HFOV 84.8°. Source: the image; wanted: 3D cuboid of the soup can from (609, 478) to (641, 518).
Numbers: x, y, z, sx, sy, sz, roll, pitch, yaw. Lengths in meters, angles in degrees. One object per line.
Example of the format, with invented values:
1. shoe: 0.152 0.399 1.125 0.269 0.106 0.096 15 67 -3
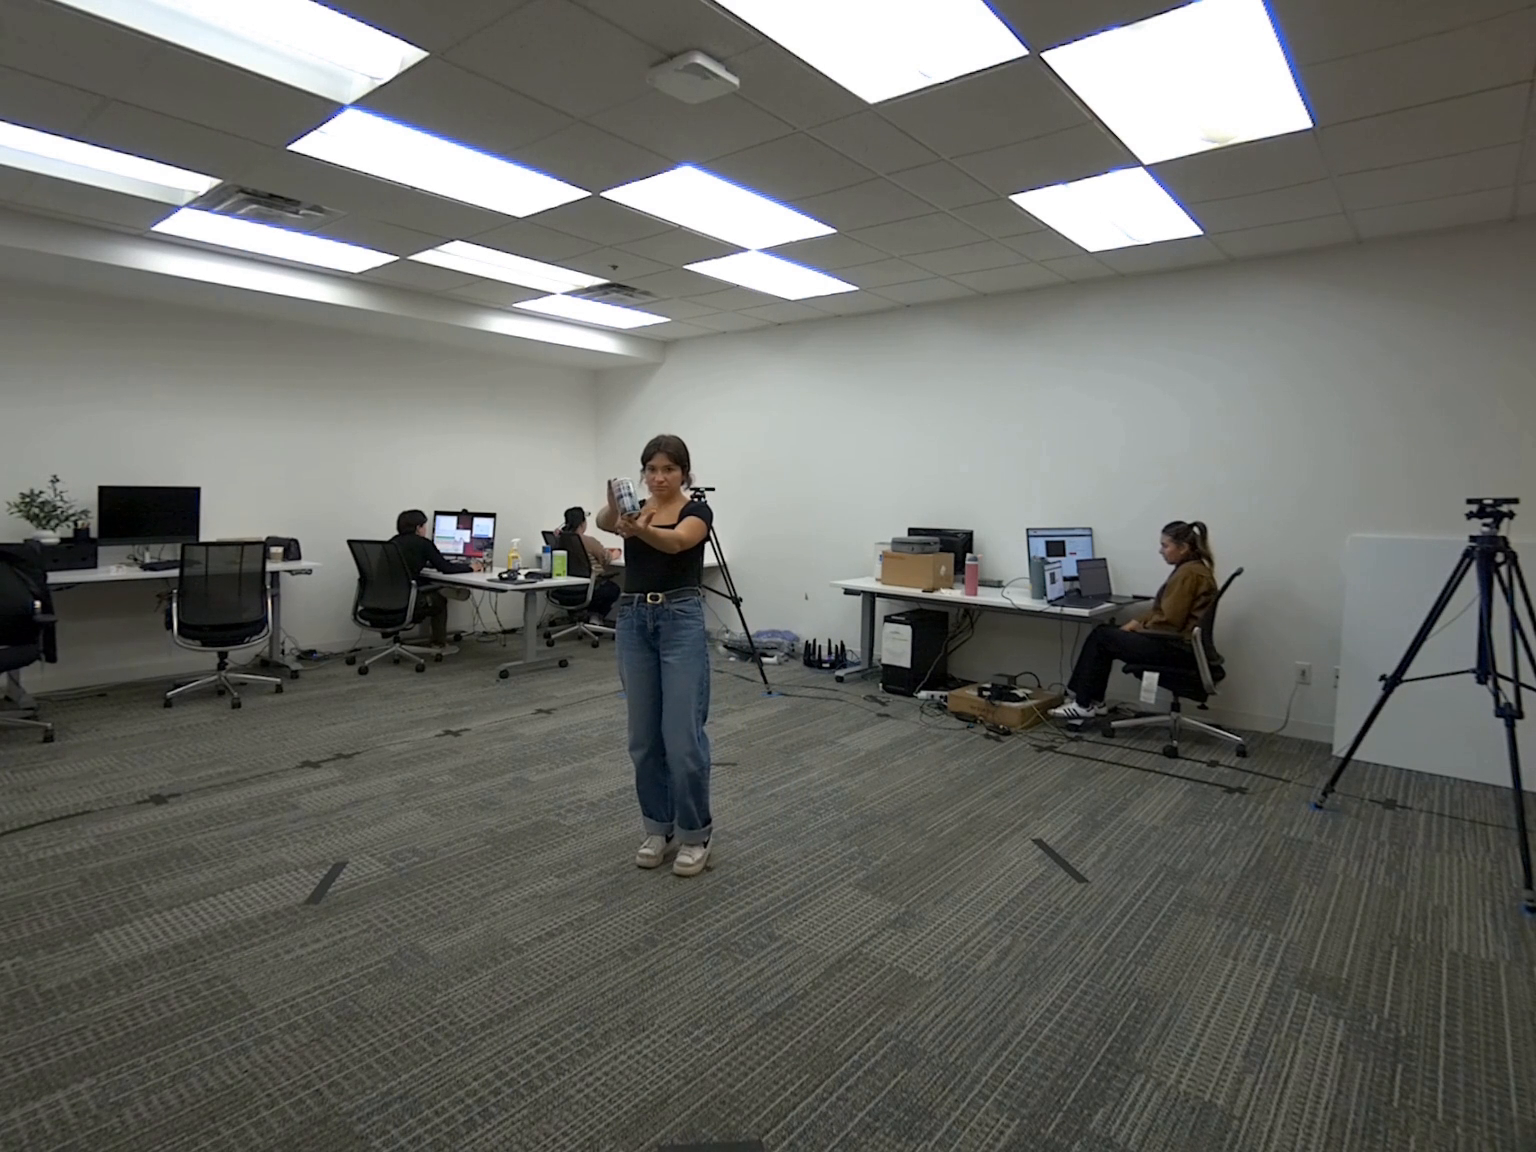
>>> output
1. soup can: -0.456 -0.244 2.642 0.067 0.124 0.066 -14 -15 -5
